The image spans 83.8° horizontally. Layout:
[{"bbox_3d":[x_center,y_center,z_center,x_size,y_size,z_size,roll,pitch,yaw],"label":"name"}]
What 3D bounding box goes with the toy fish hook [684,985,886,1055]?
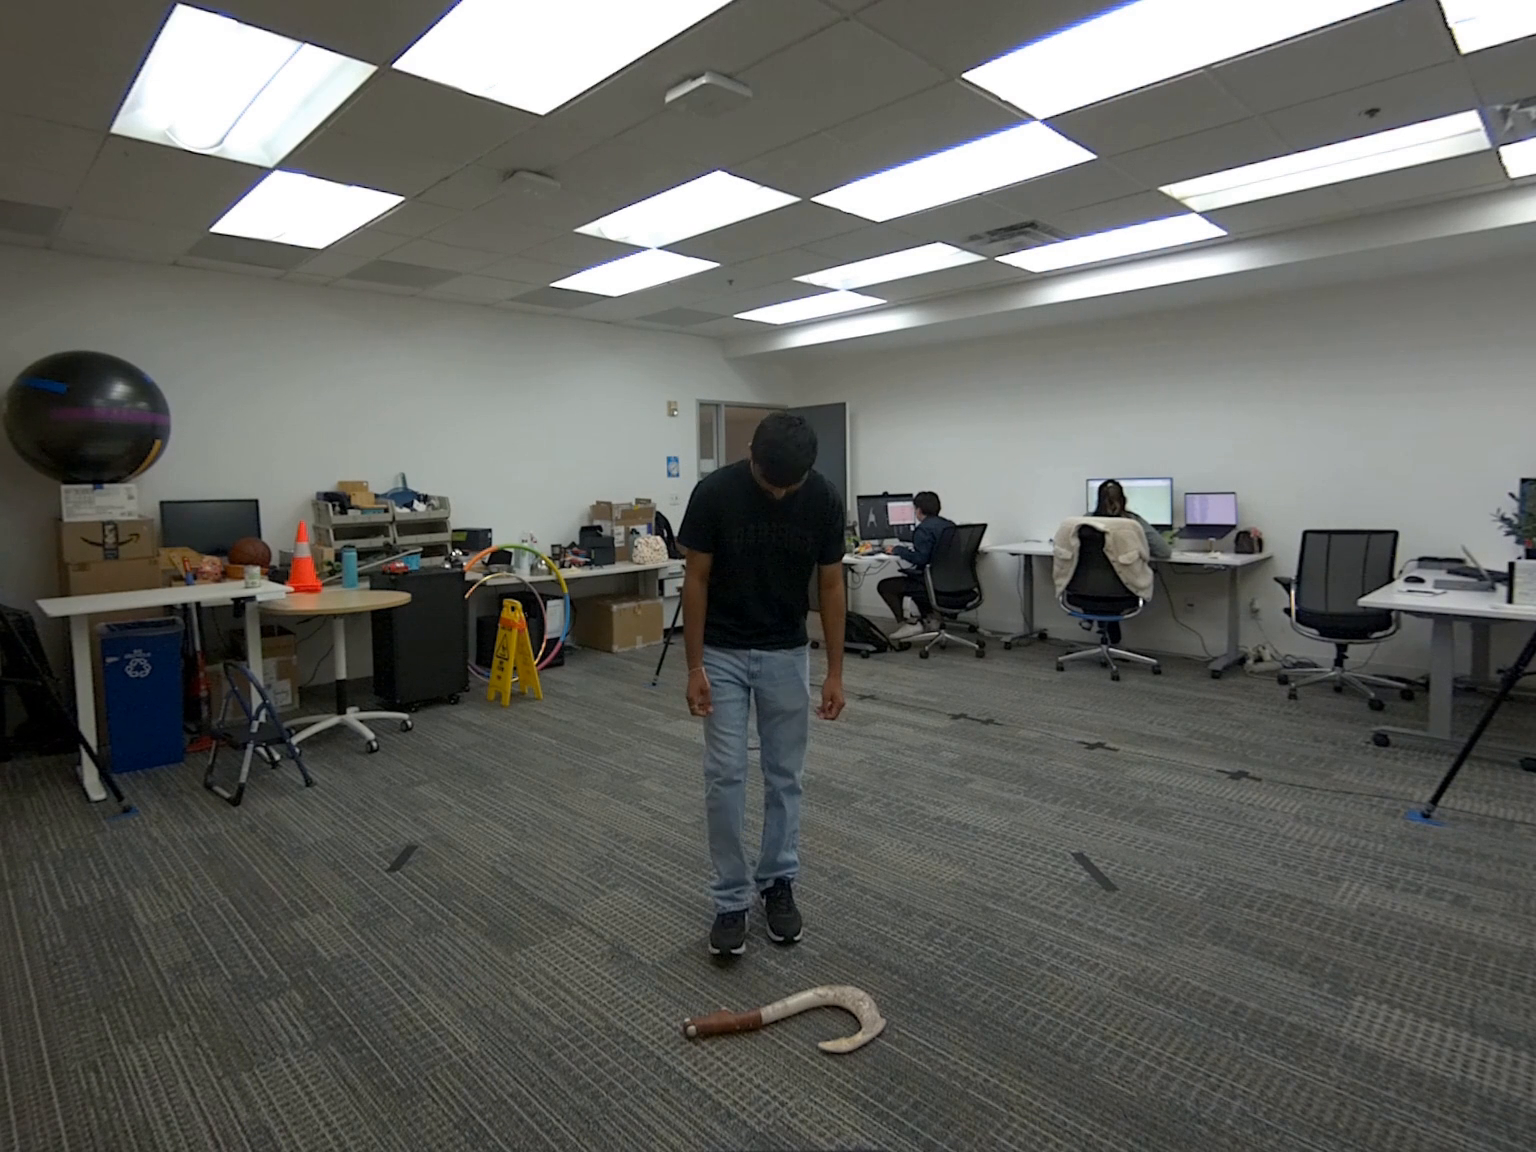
[{"bbox_3d":[0.053,1.134,2.150,0.500,0.048,0.228,-4,6,-15],"label":"toy fish hook"}]
